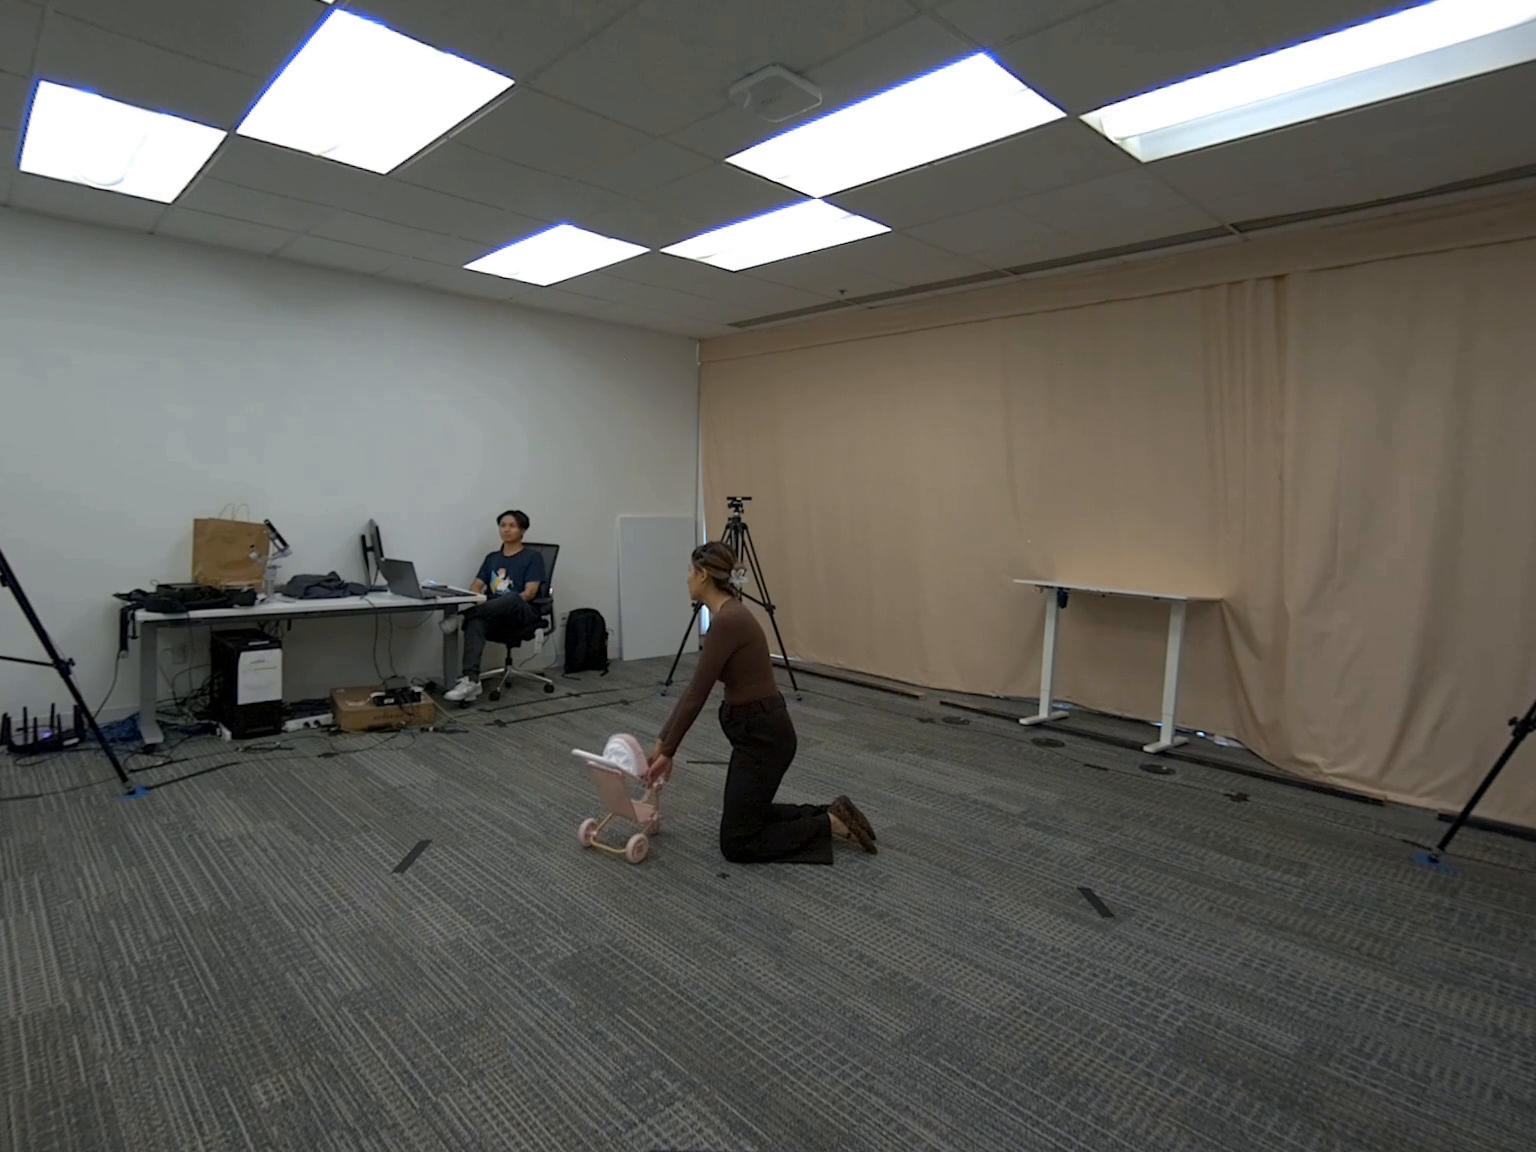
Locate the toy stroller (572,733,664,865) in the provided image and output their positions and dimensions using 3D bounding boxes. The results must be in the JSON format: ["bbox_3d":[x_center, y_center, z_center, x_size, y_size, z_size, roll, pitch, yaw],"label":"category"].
[{"bbox_3d":[-0.562,0.849,3.307,0.288,0.528,0.337,6,20,36],"label":"toy stroller"}]
